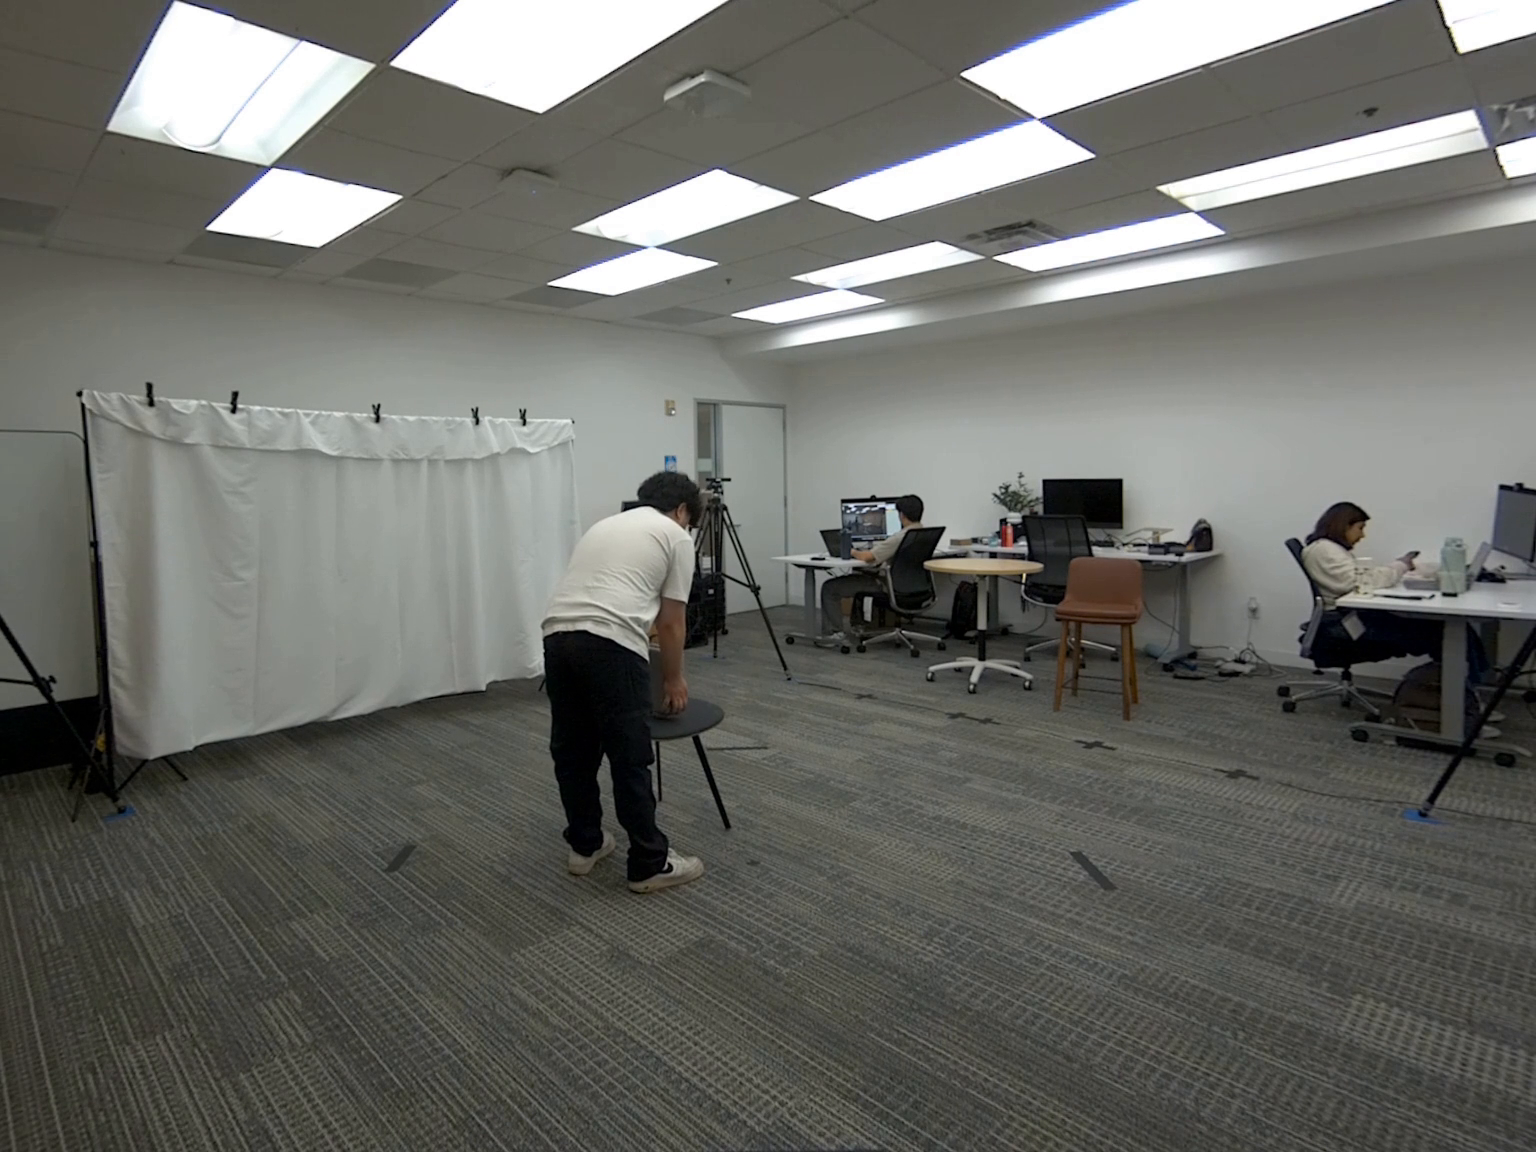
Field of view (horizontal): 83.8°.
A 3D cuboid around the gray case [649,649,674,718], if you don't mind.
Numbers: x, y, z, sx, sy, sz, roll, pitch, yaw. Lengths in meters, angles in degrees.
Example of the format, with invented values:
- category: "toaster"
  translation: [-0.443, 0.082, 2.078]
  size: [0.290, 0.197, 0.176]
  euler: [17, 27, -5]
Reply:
- category: "gray case"
  translation: [-0.439, 0.383, 3.329]
  size: [0.101, 0.260, 0.265]
  euler: [0, 2, -43]
